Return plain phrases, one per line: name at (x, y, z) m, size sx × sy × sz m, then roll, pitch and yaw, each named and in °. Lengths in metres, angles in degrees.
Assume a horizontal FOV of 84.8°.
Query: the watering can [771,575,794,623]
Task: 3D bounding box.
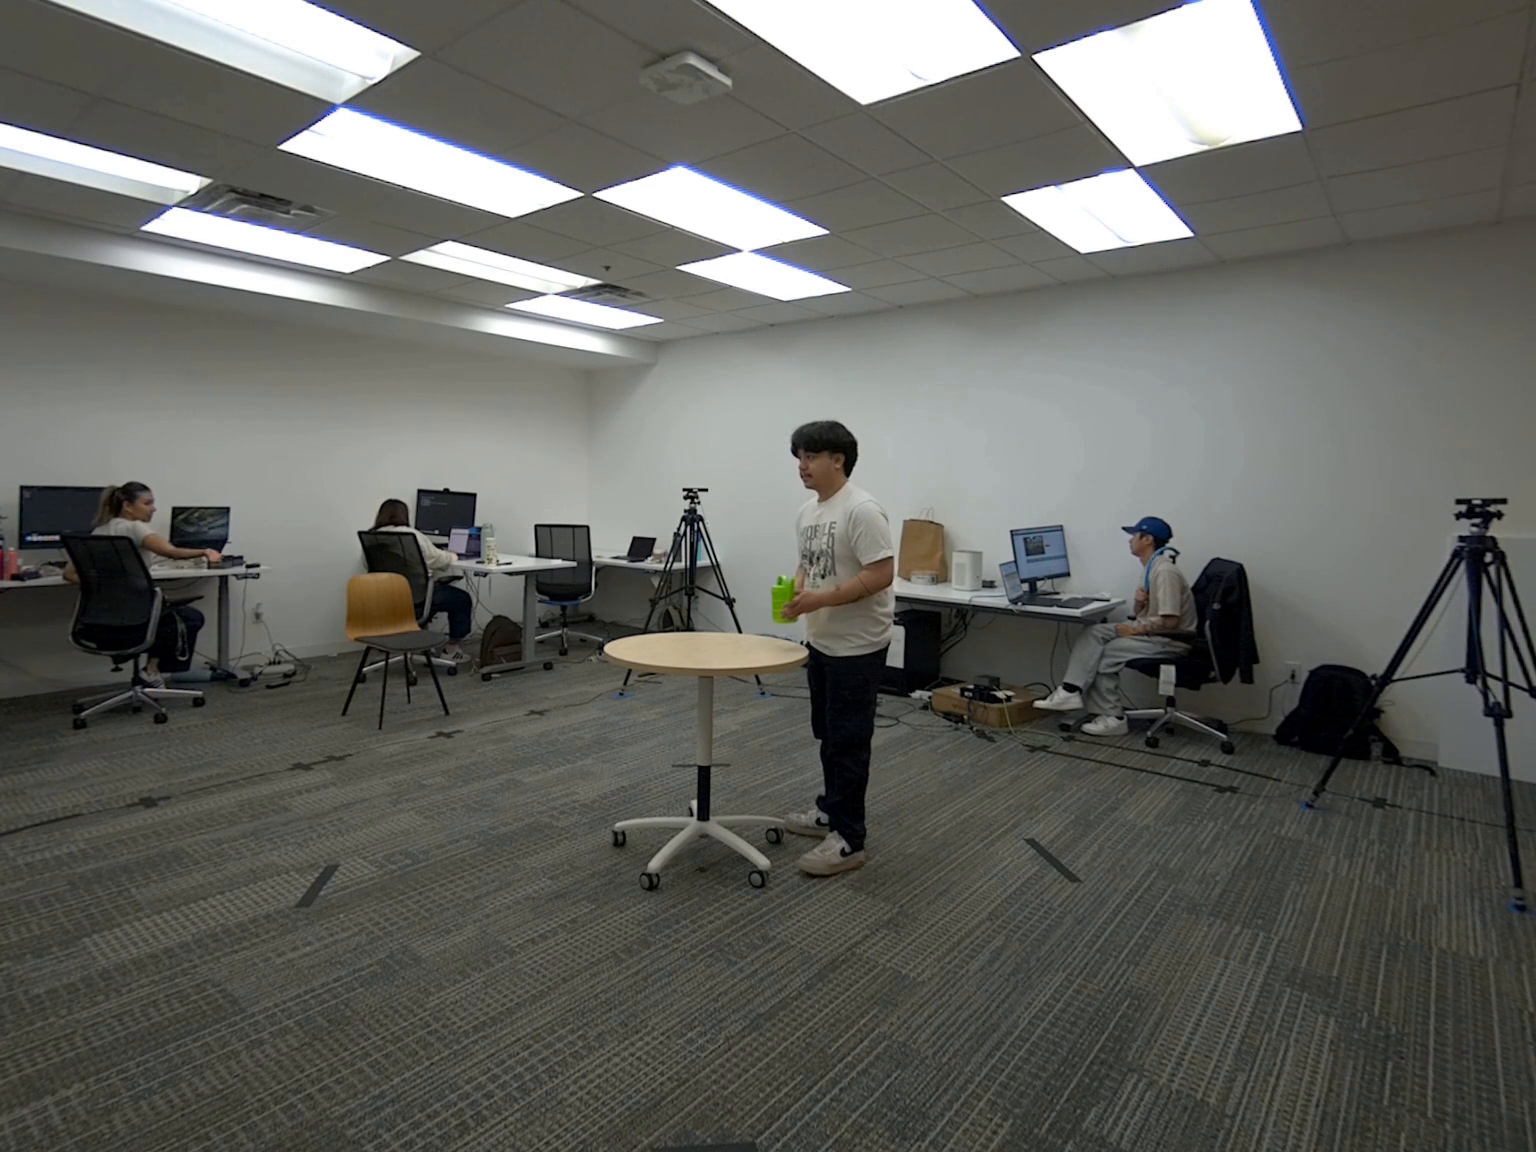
watering can at (0.058, 0.083, 3.160) m, size 0.098 × 0.176 × 0.278 m, roll -4°, pitch 3°, yaw -1°
